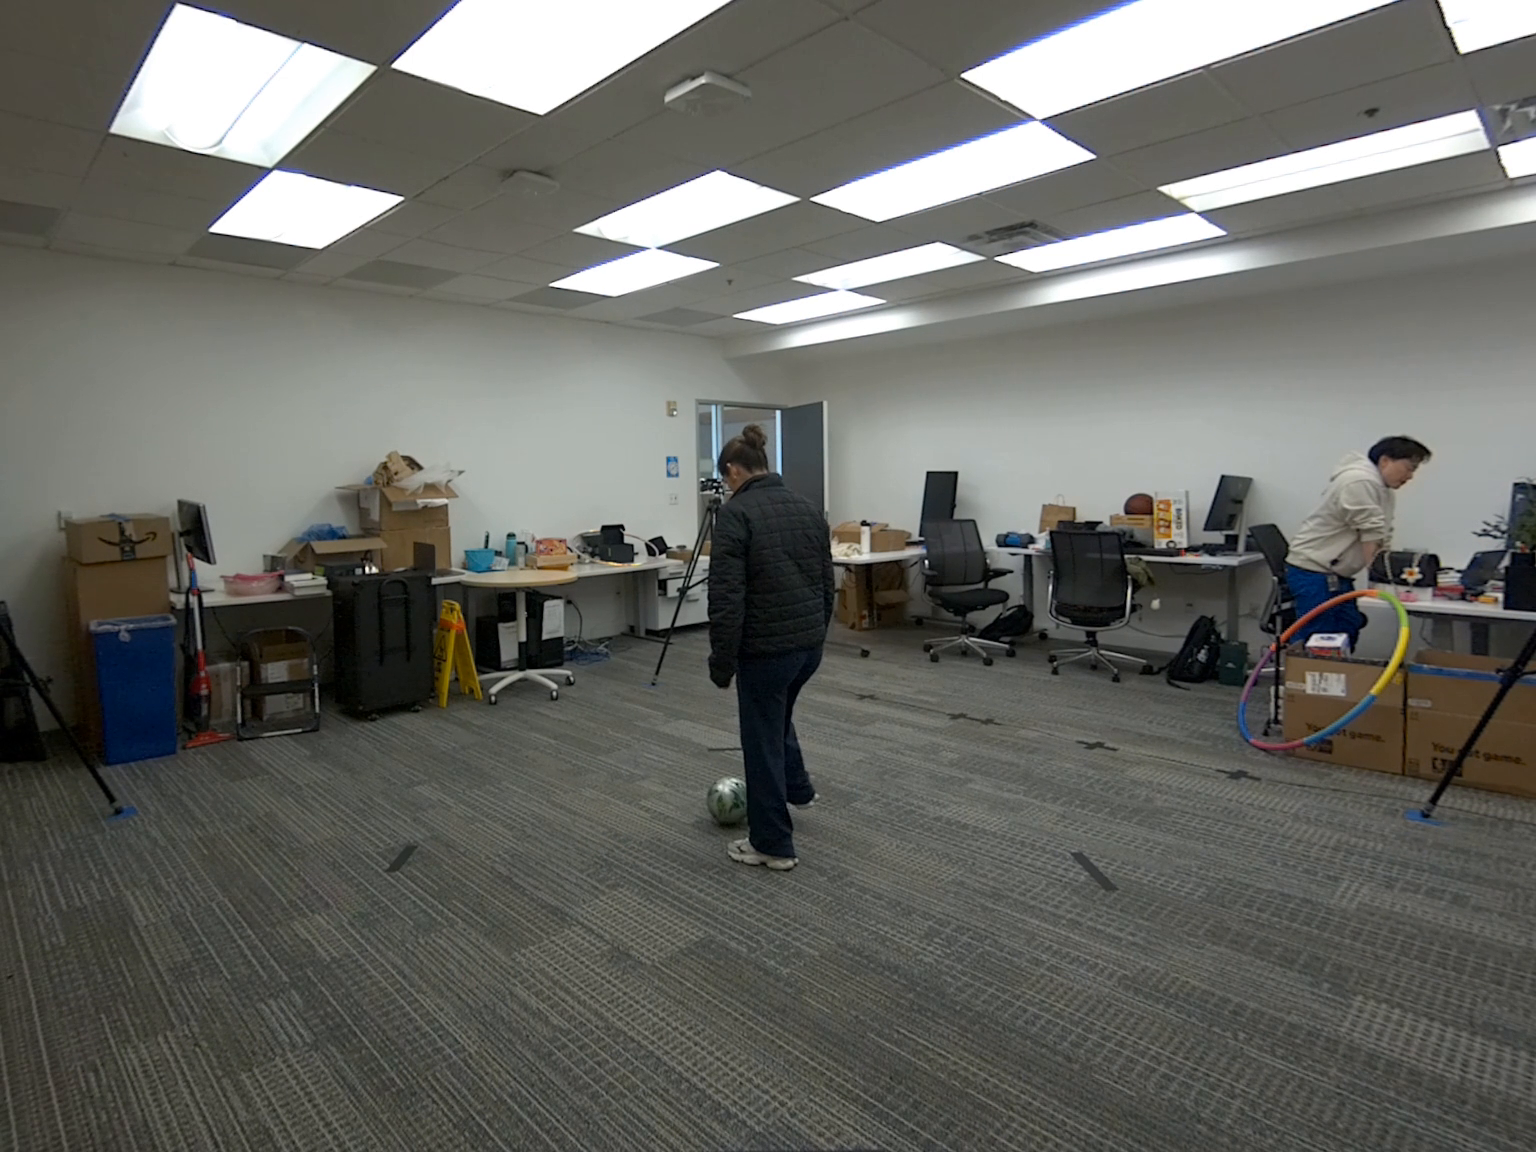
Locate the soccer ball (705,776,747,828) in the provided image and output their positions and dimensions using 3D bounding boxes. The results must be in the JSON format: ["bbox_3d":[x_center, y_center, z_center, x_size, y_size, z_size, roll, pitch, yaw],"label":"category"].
[{"bbox_3d":[-0.157,0.906,3.465,0.187,0.187,0.188,-1,5,-2],"label":"soccer ball"}]
